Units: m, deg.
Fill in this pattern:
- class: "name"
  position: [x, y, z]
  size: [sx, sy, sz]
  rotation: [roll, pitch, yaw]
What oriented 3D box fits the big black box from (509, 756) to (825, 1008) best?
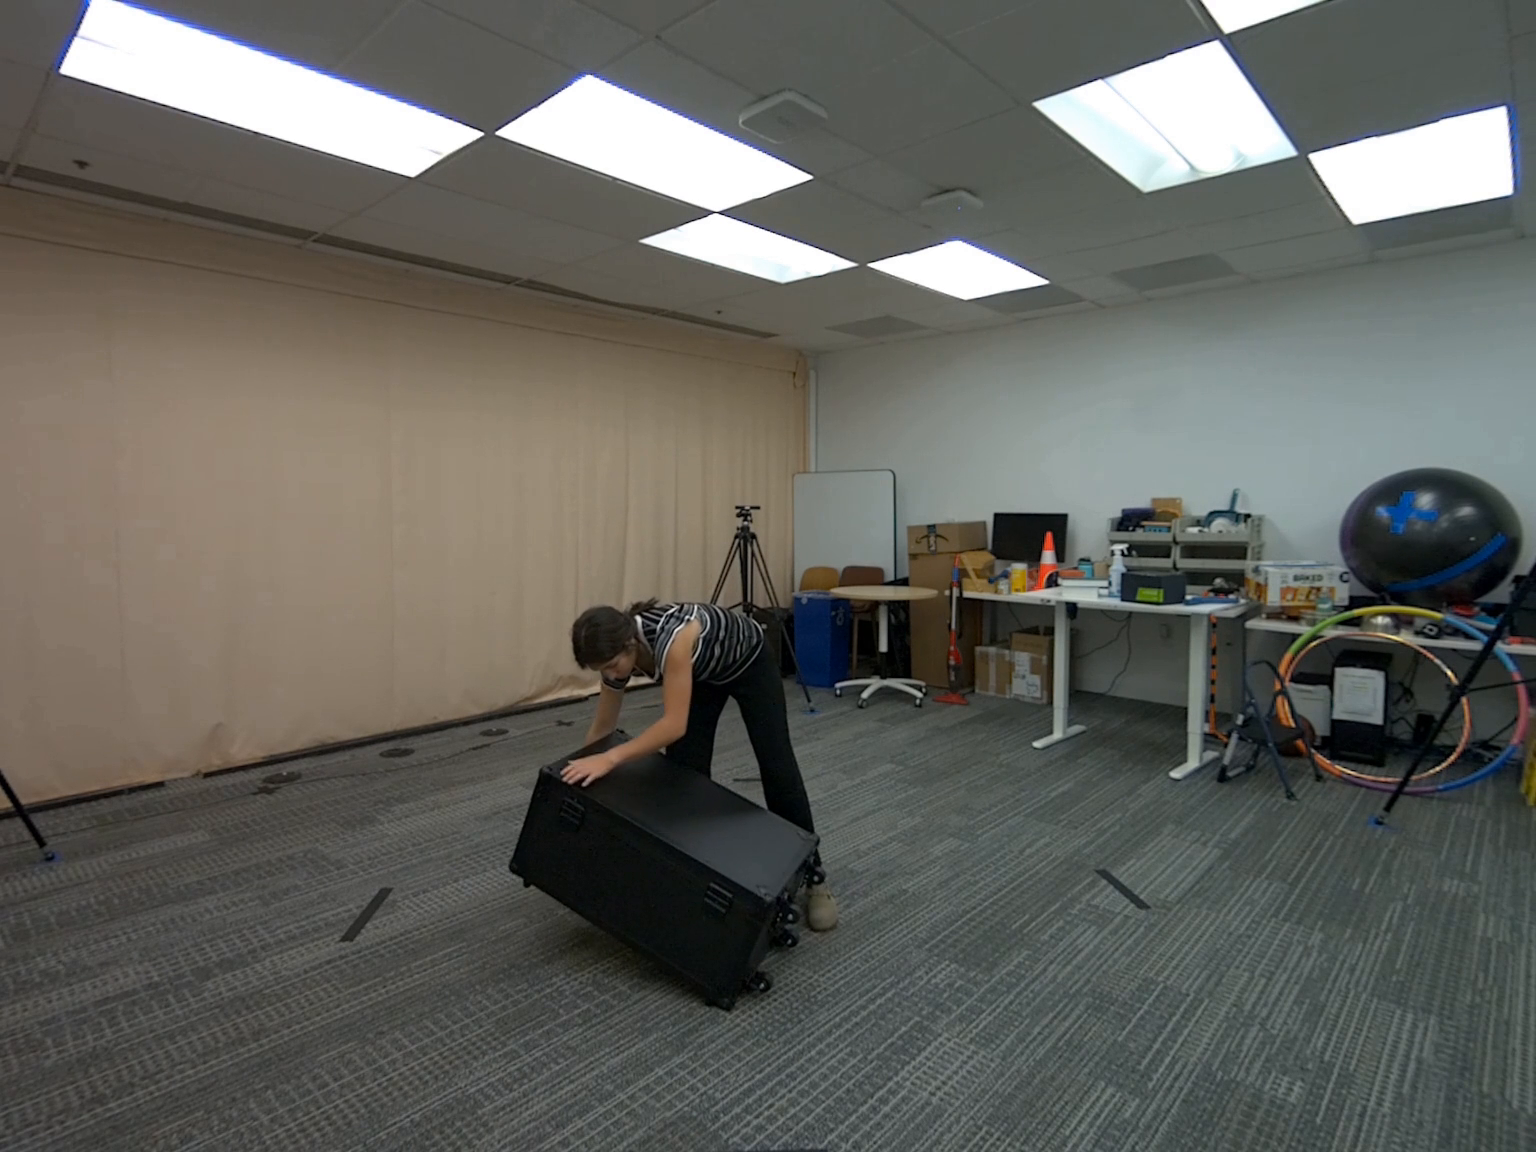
- class: "big black box"
  position: [-0.296, 0.891, 2.617]
  size: [0.880, 0.395, 0.511]
  rotation: [23, 11, 17]
